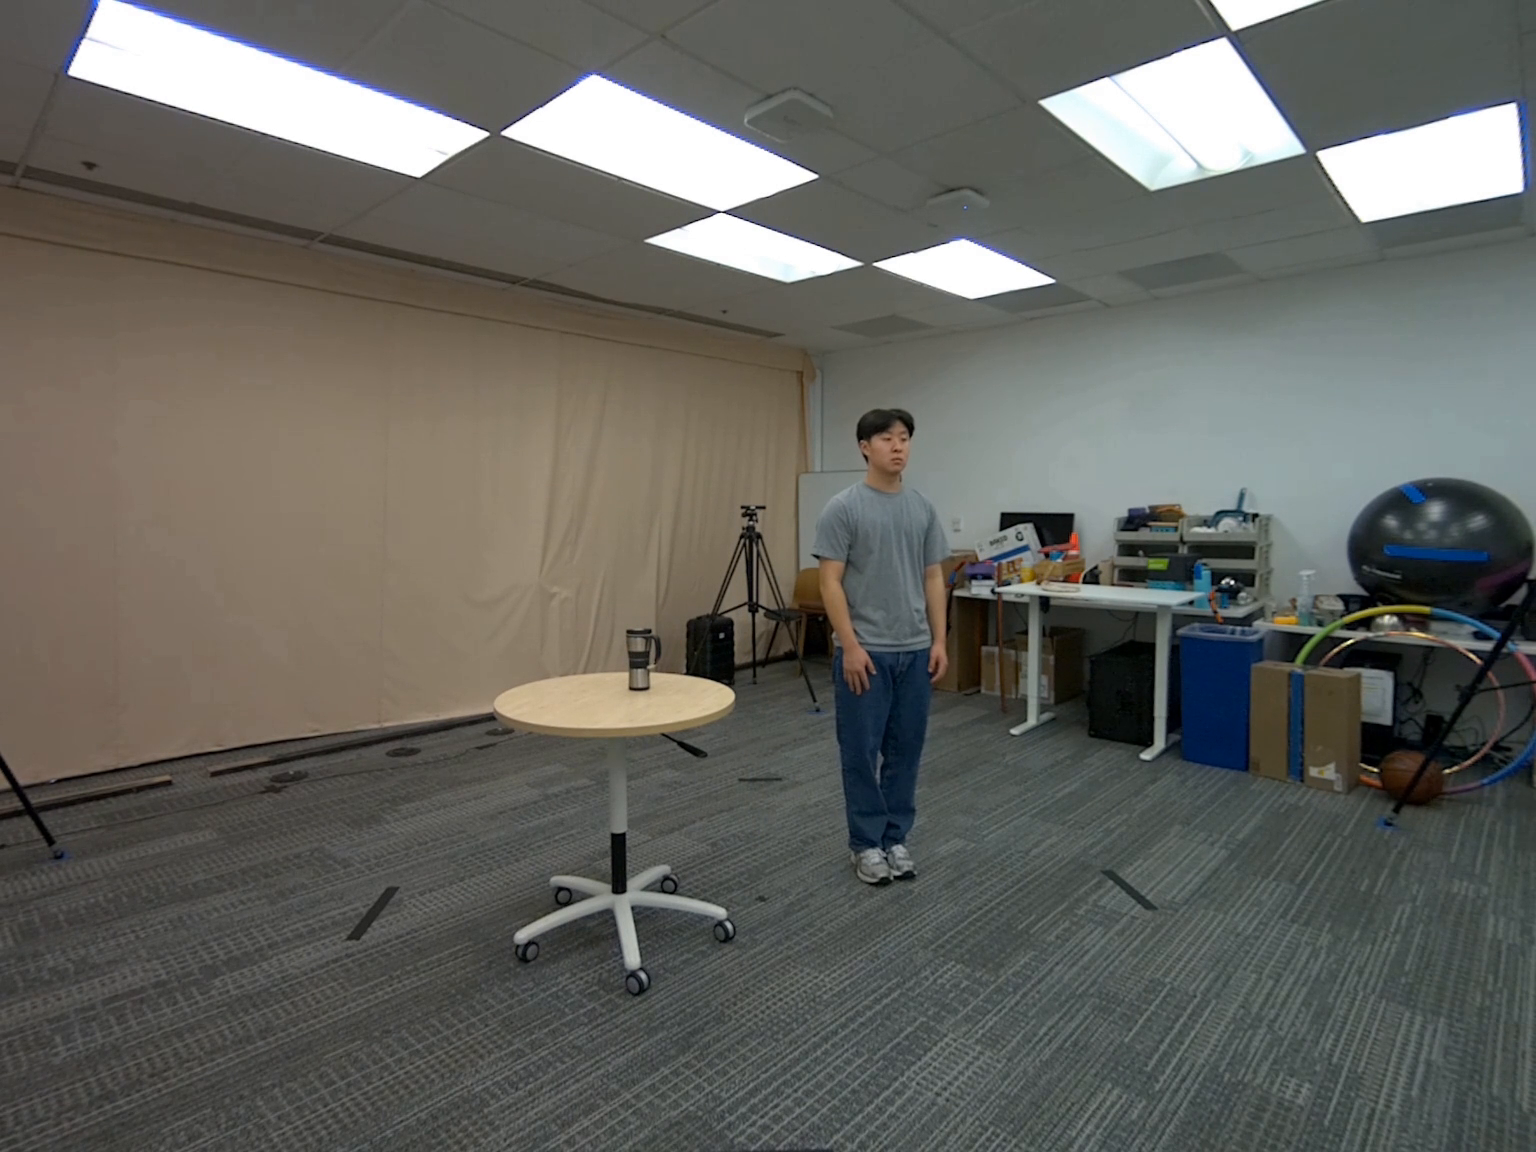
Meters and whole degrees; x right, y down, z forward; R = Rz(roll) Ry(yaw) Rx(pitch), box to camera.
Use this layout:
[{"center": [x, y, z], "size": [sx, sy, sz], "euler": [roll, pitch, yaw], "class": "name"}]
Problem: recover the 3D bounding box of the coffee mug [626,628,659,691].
[{"center": [-0.414, 0.282, 2.784], "size": [0.126, 0.203, 0.085], "euler": [0, -2, 43], "class": "coffee mug"}]
